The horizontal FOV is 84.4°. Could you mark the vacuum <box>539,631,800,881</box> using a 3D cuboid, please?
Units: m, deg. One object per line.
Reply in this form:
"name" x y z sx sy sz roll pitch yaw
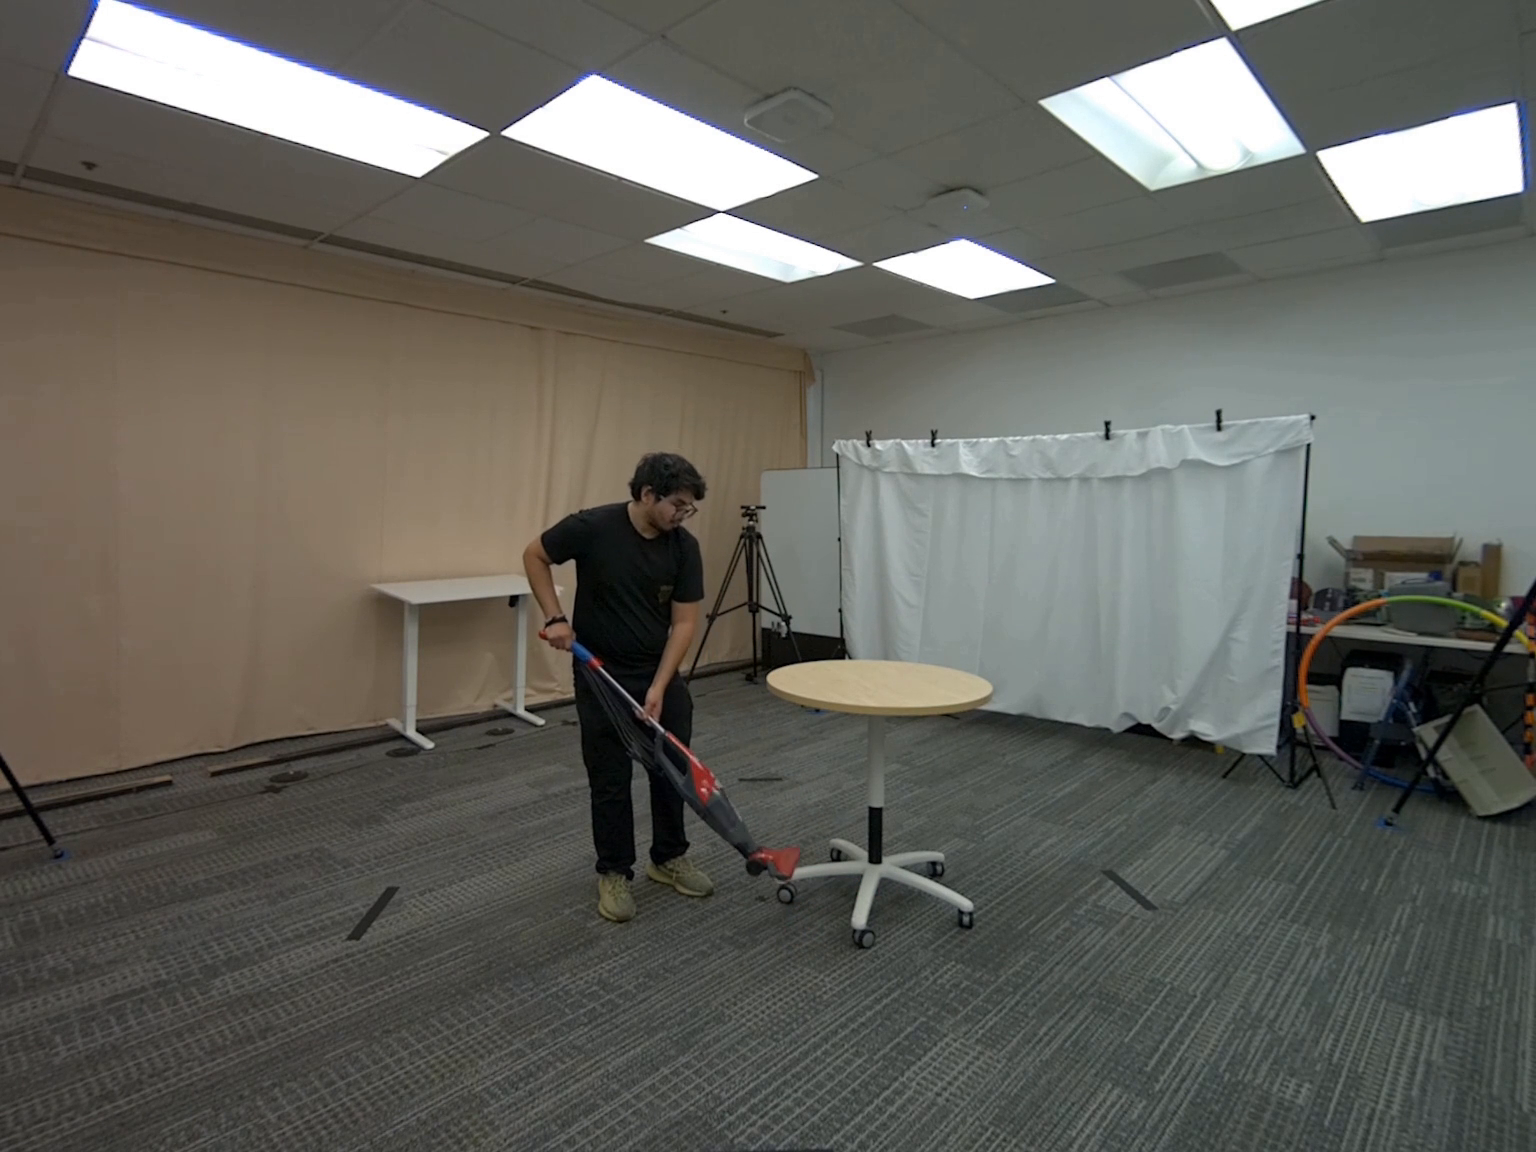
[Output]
"vacuum" -0.331 0.540 2.706 1.065 0.144 0.248 44 8 12
